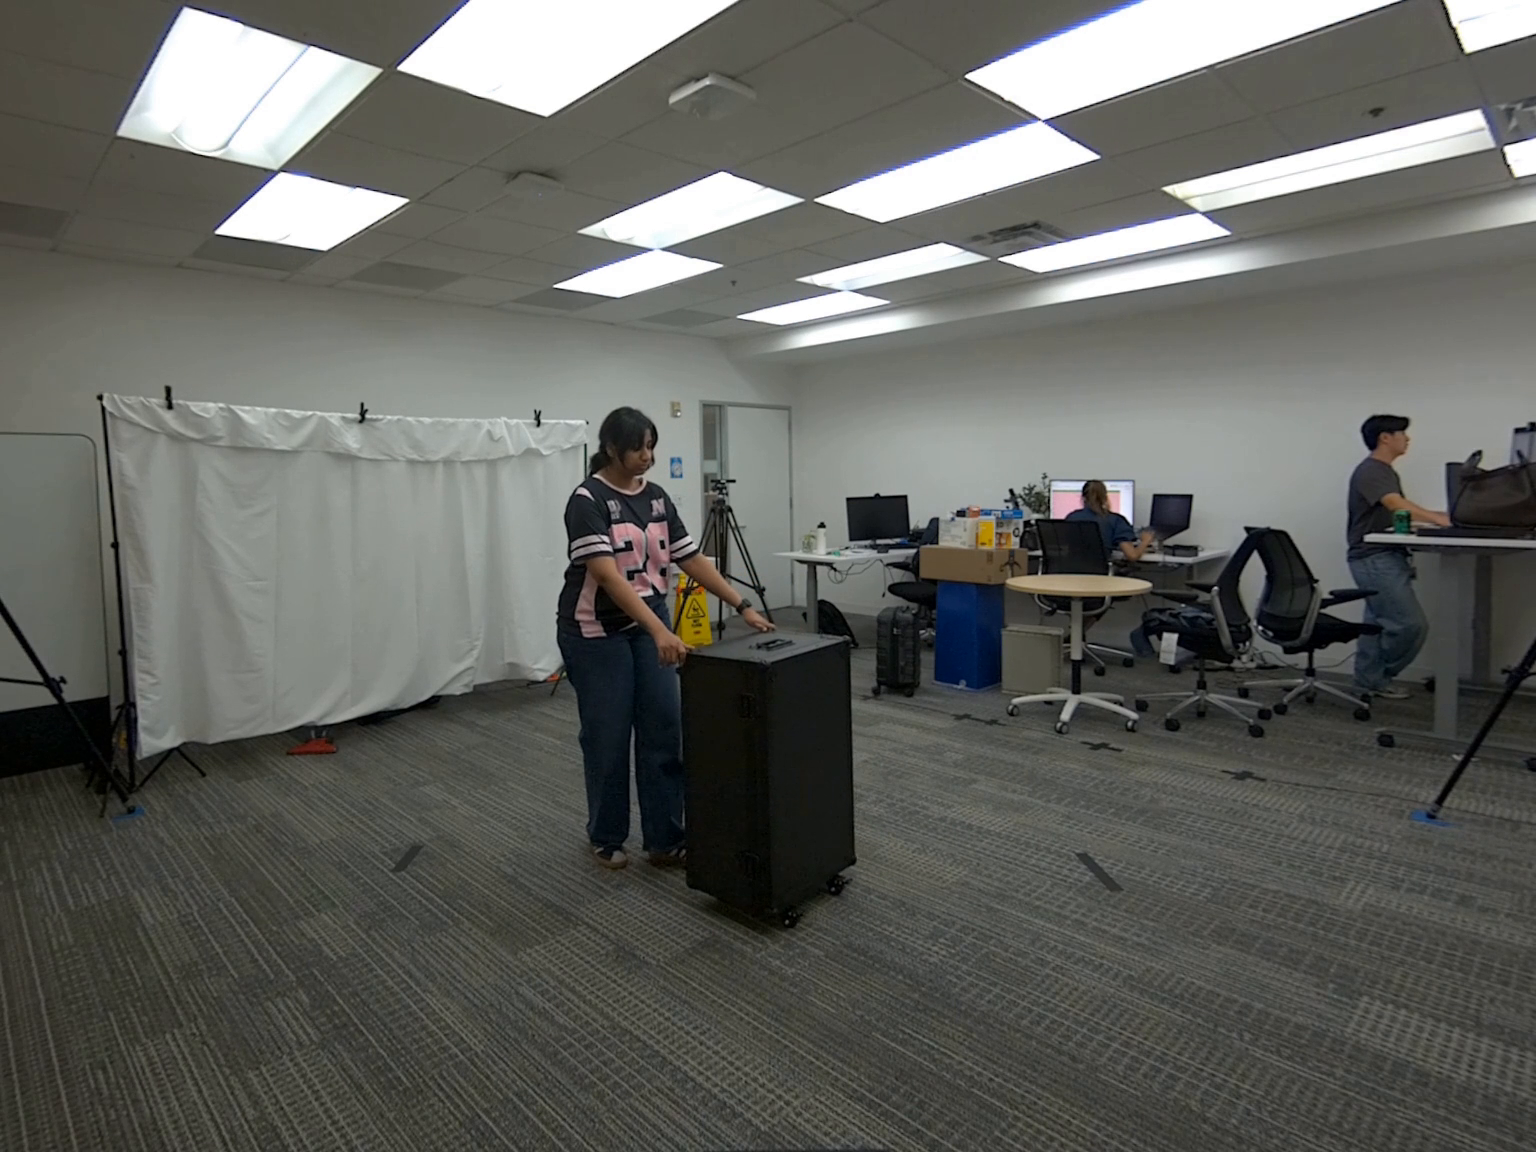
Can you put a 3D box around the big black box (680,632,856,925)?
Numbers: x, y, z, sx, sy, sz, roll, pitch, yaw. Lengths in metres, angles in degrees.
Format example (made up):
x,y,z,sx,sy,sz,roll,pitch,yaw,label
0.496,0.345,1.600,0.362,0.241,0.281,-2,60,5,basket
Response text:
x,y,z,sx,sy,sz,roll,pitch,yaw,label
0.003,0.655,2.840,0.396,0.866,0.510,1,4,38,big black box
